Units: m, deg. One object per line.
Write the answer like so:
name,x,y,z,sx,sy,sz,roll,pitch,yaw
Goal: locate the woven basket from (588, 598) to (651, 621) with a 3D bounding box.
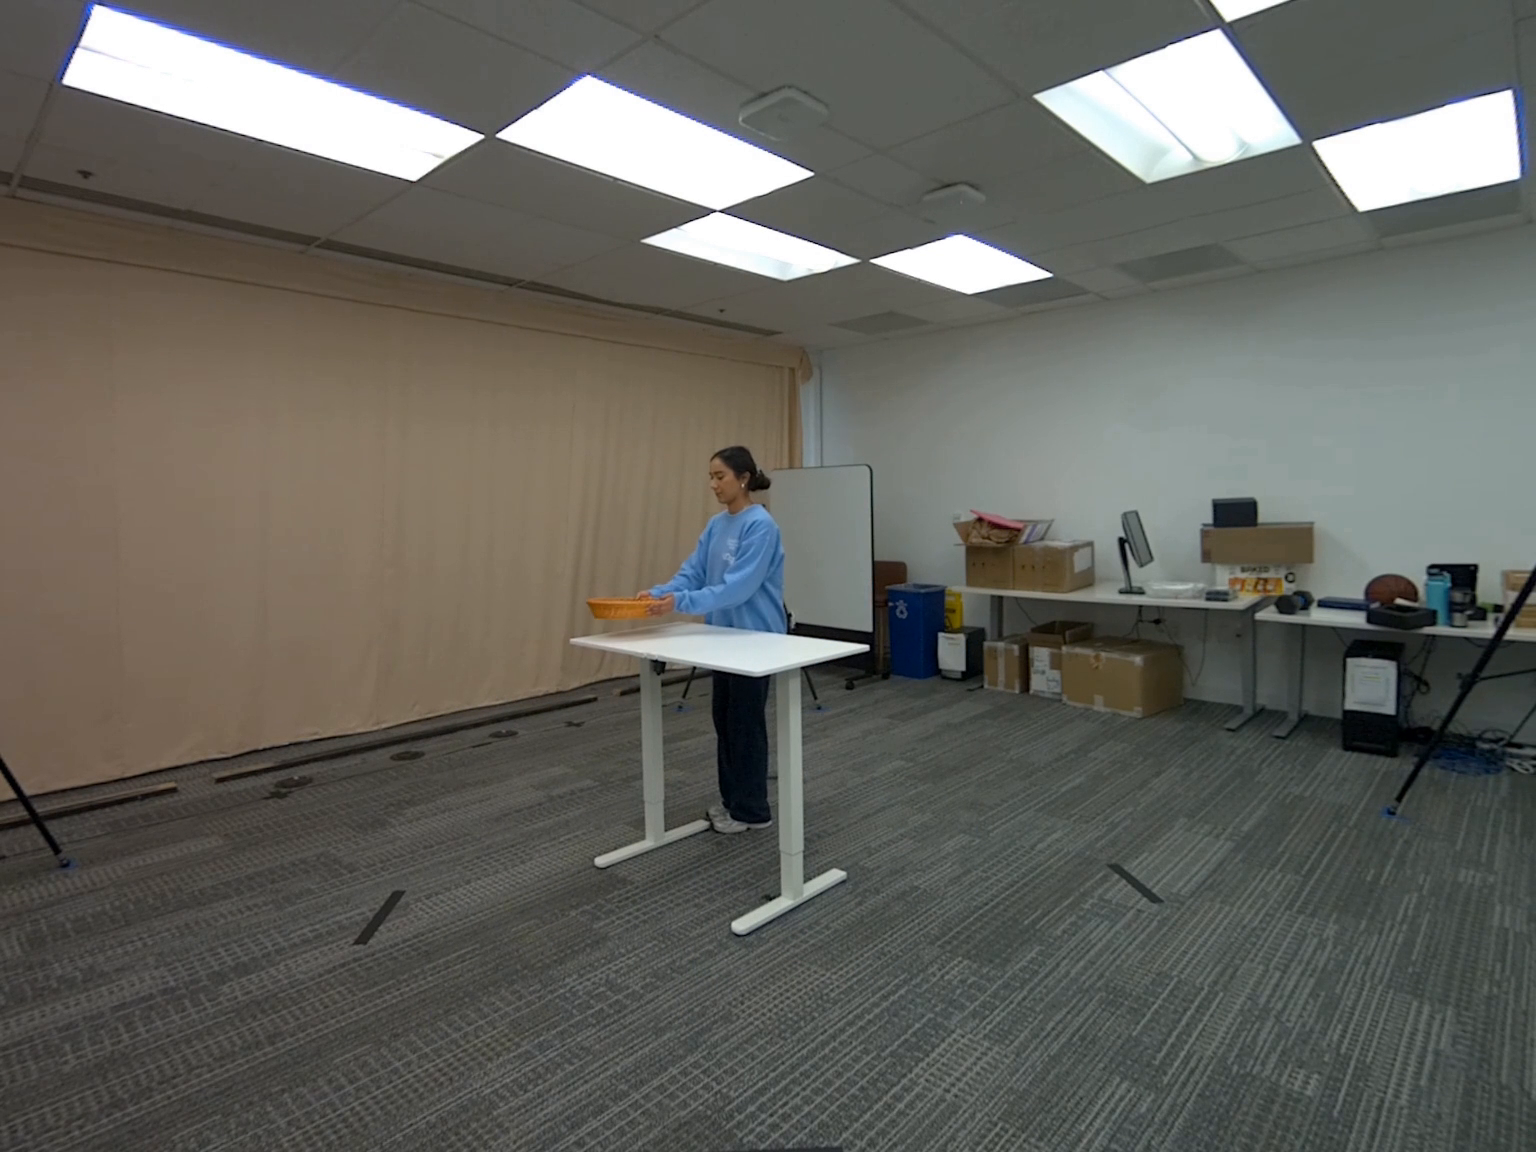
woven basket,-0.543,0.131,3.379,0.340,0.073,0.260,-3,4,-37
